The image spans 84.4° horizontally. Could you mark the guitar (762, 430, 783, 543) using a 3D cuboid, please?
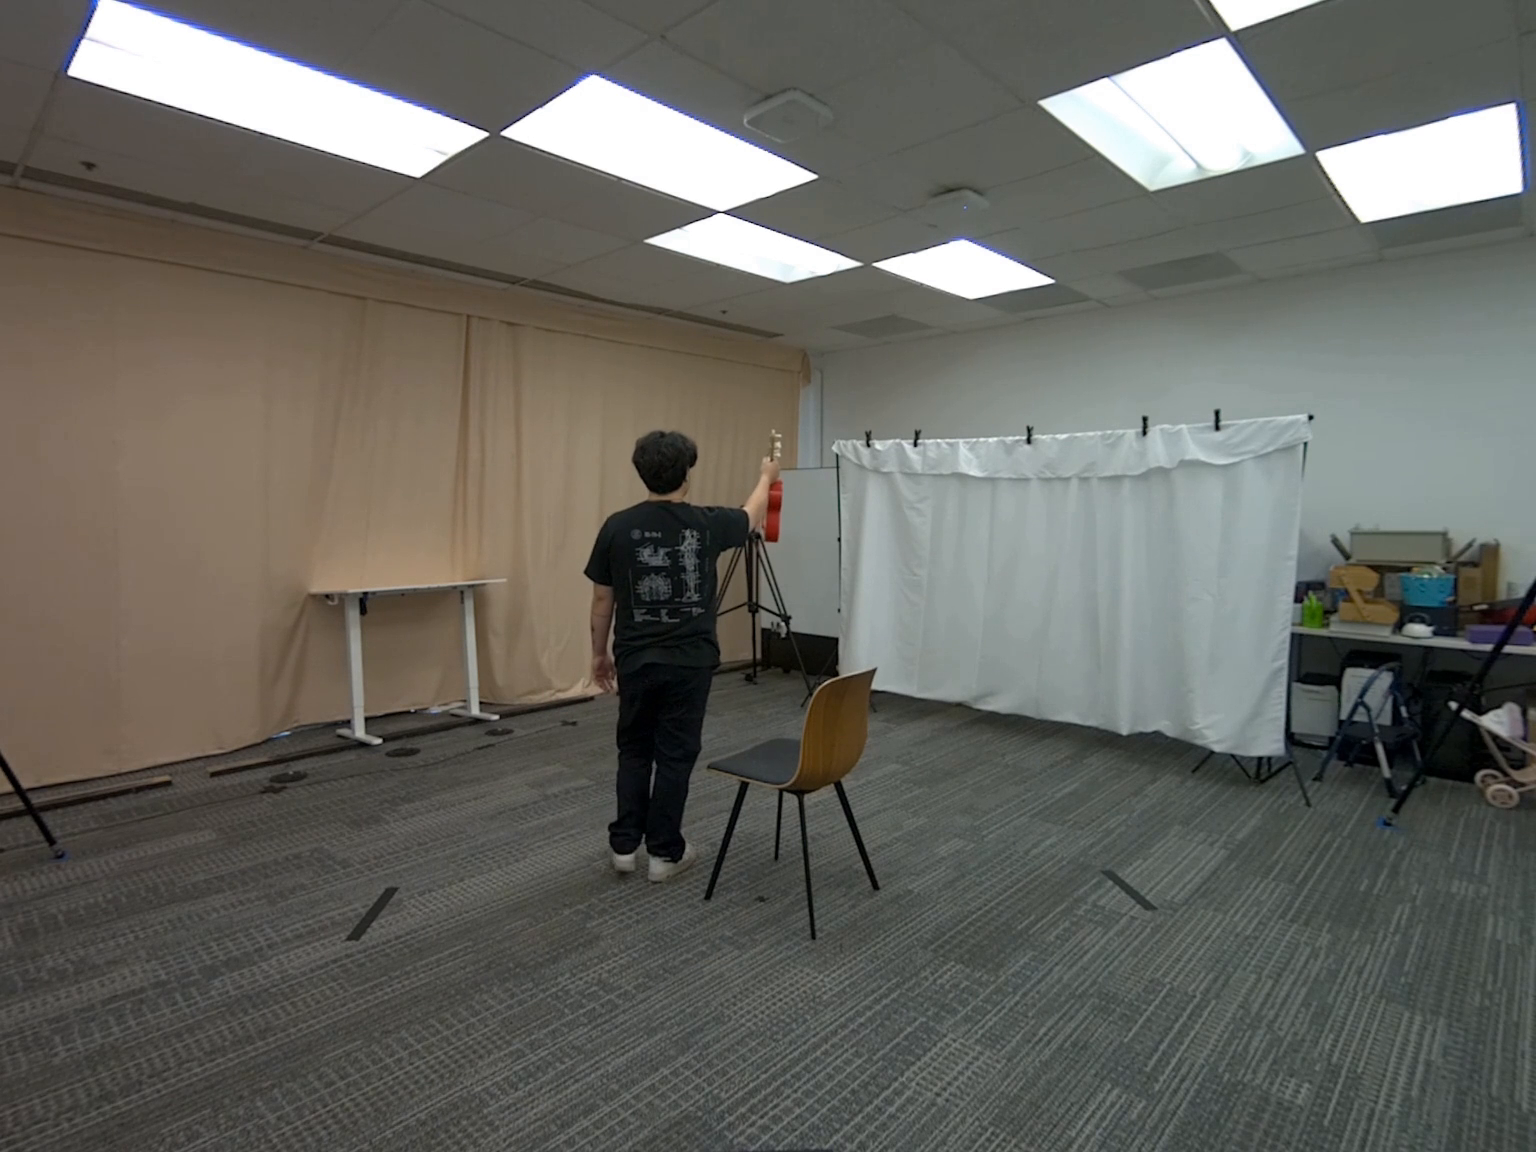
[{"bbox_3d":[0.022,-0.362,3.559,0.071,0.489,0.196,2,39,-2],"label":"guitar"}]
